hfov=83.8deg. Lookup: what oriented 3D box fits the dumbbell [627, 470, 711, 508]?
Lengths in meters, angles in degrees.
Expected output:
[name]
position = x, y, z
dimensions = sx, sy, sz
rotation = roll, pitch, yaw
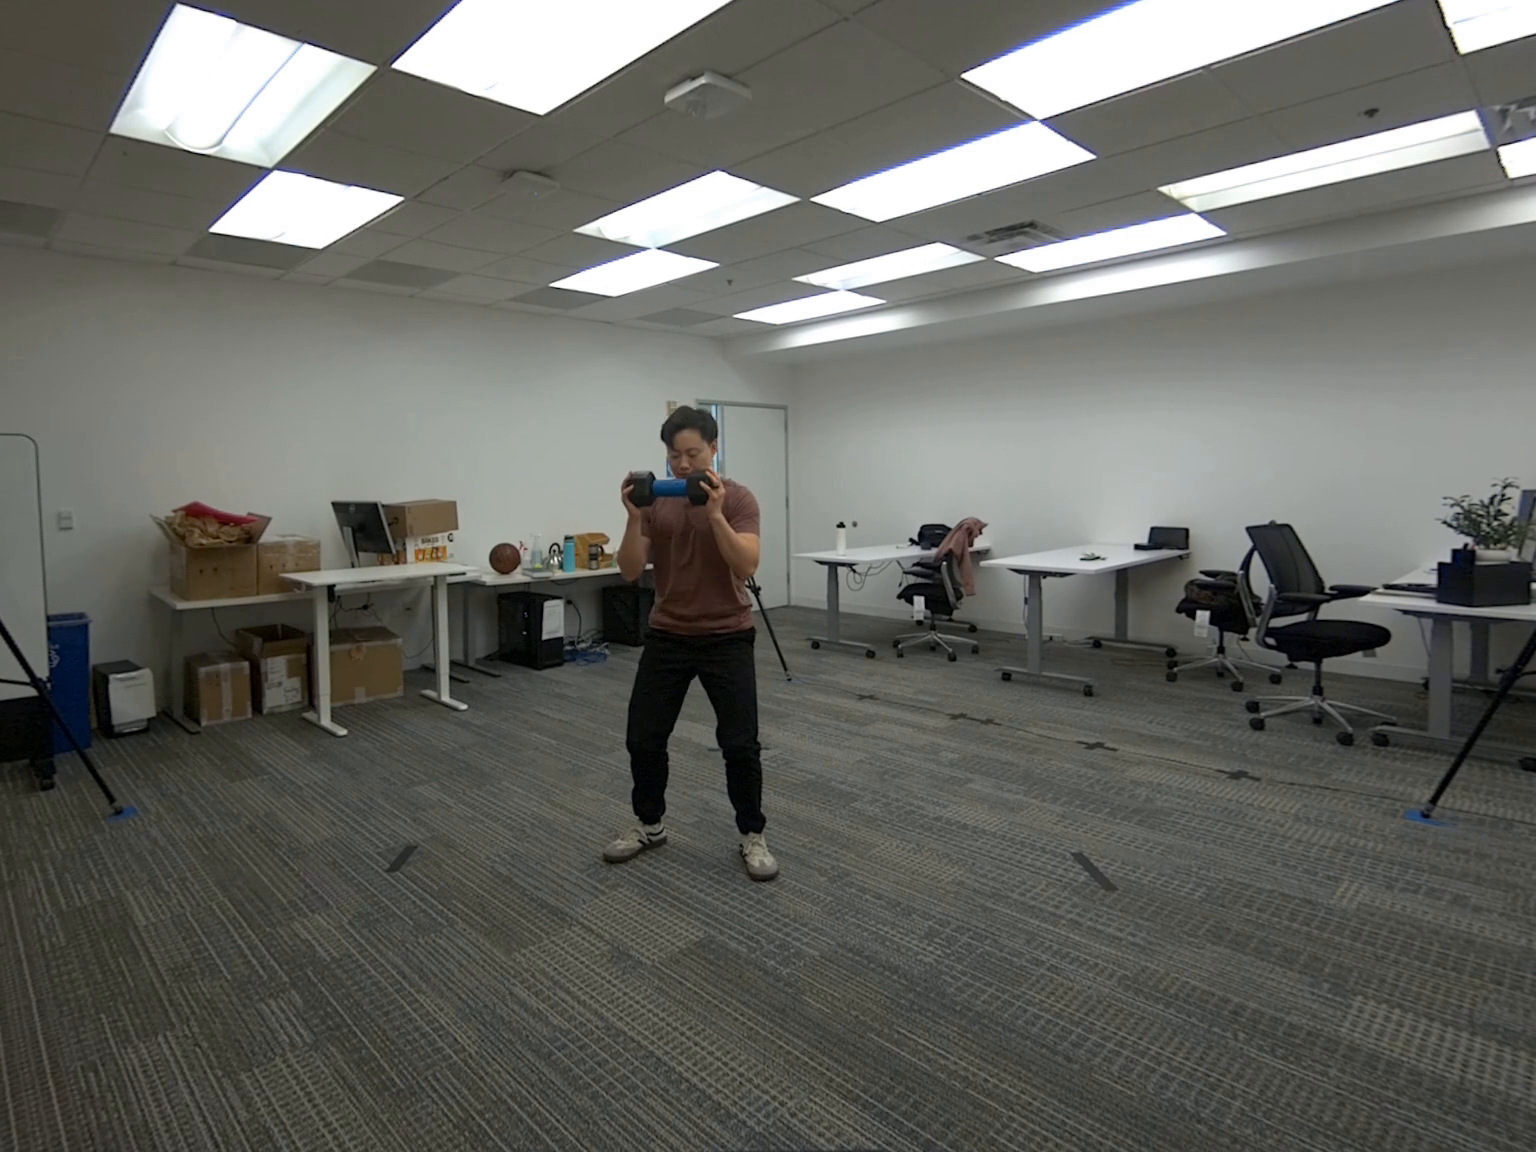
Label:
[dumbbell]
position = -0.328, -0.277, 2.893
dimensions = 0.298, 0.111, 0.119
rotation = 1, -30, 15
